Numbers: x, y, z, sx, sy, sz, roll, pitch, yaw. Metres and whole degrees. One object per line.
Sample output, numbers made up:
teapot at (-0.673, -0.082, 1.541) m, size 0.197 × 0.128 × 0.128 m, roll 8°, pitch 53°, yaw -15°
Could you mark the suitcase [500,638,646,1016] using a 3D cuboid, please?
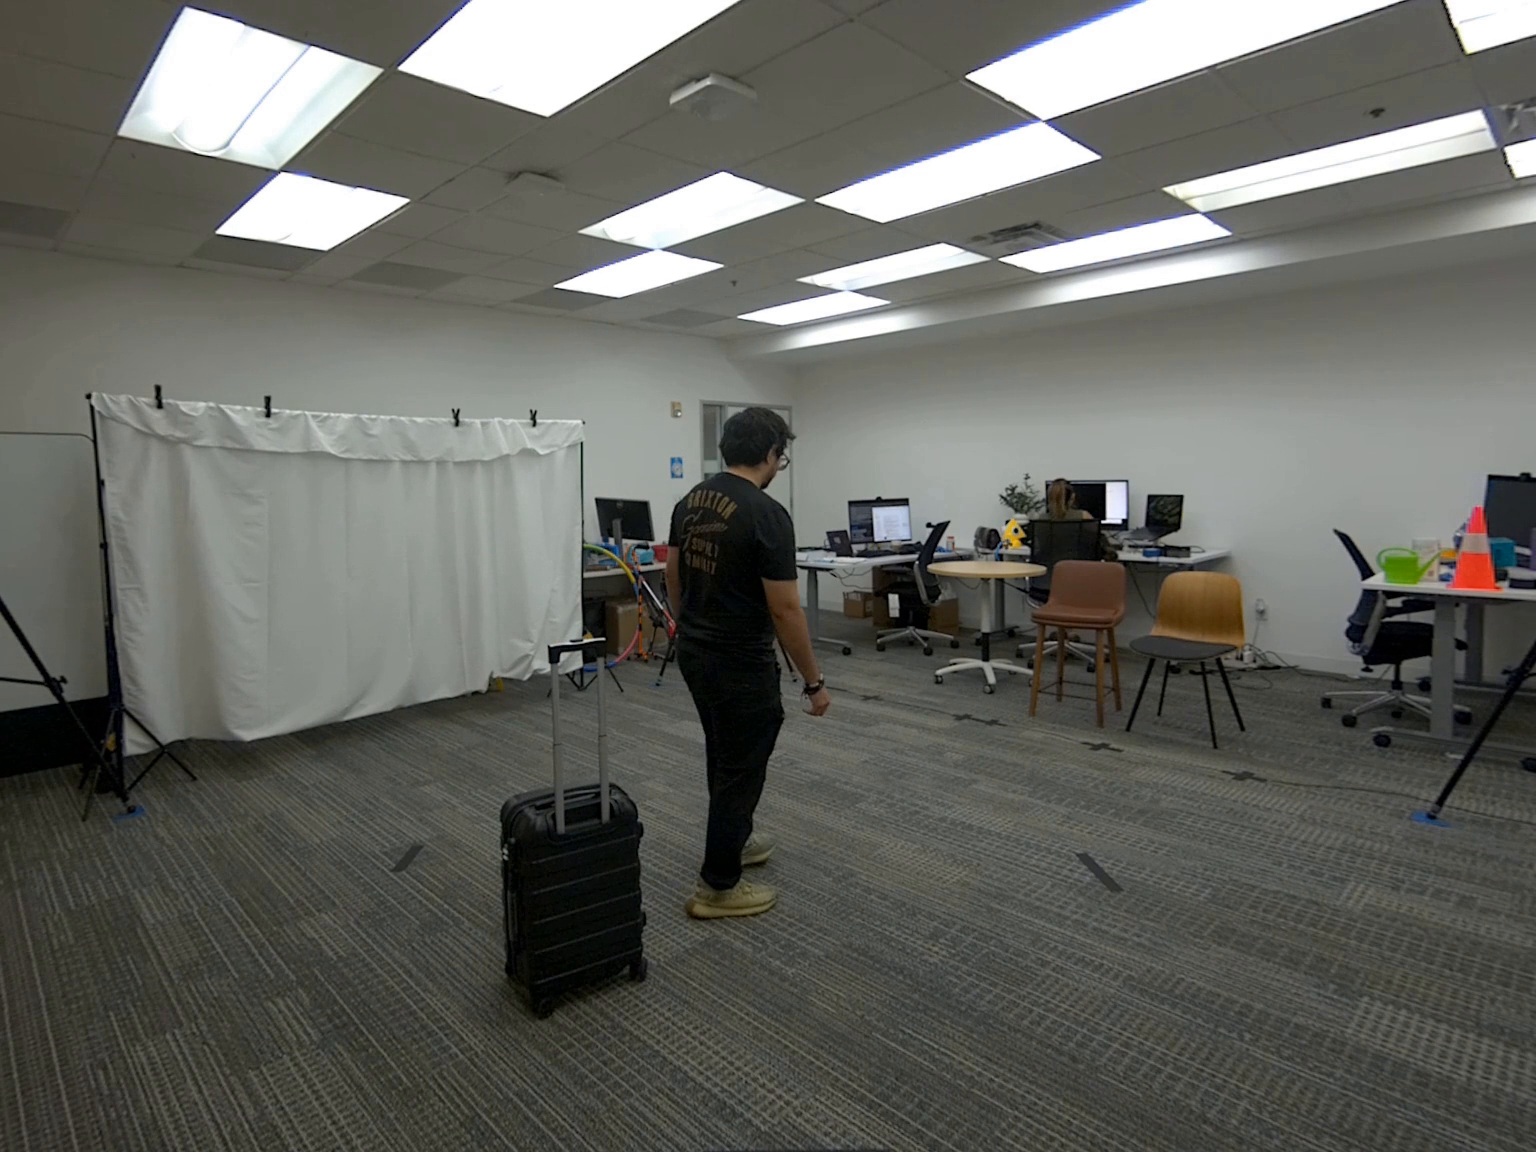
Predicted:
suitcase at (-0.553, 0.663, 2.375) m, size 0.375 × 0.975 × 0.264 m, roll -4°, pitch 4°, yaw -32°
